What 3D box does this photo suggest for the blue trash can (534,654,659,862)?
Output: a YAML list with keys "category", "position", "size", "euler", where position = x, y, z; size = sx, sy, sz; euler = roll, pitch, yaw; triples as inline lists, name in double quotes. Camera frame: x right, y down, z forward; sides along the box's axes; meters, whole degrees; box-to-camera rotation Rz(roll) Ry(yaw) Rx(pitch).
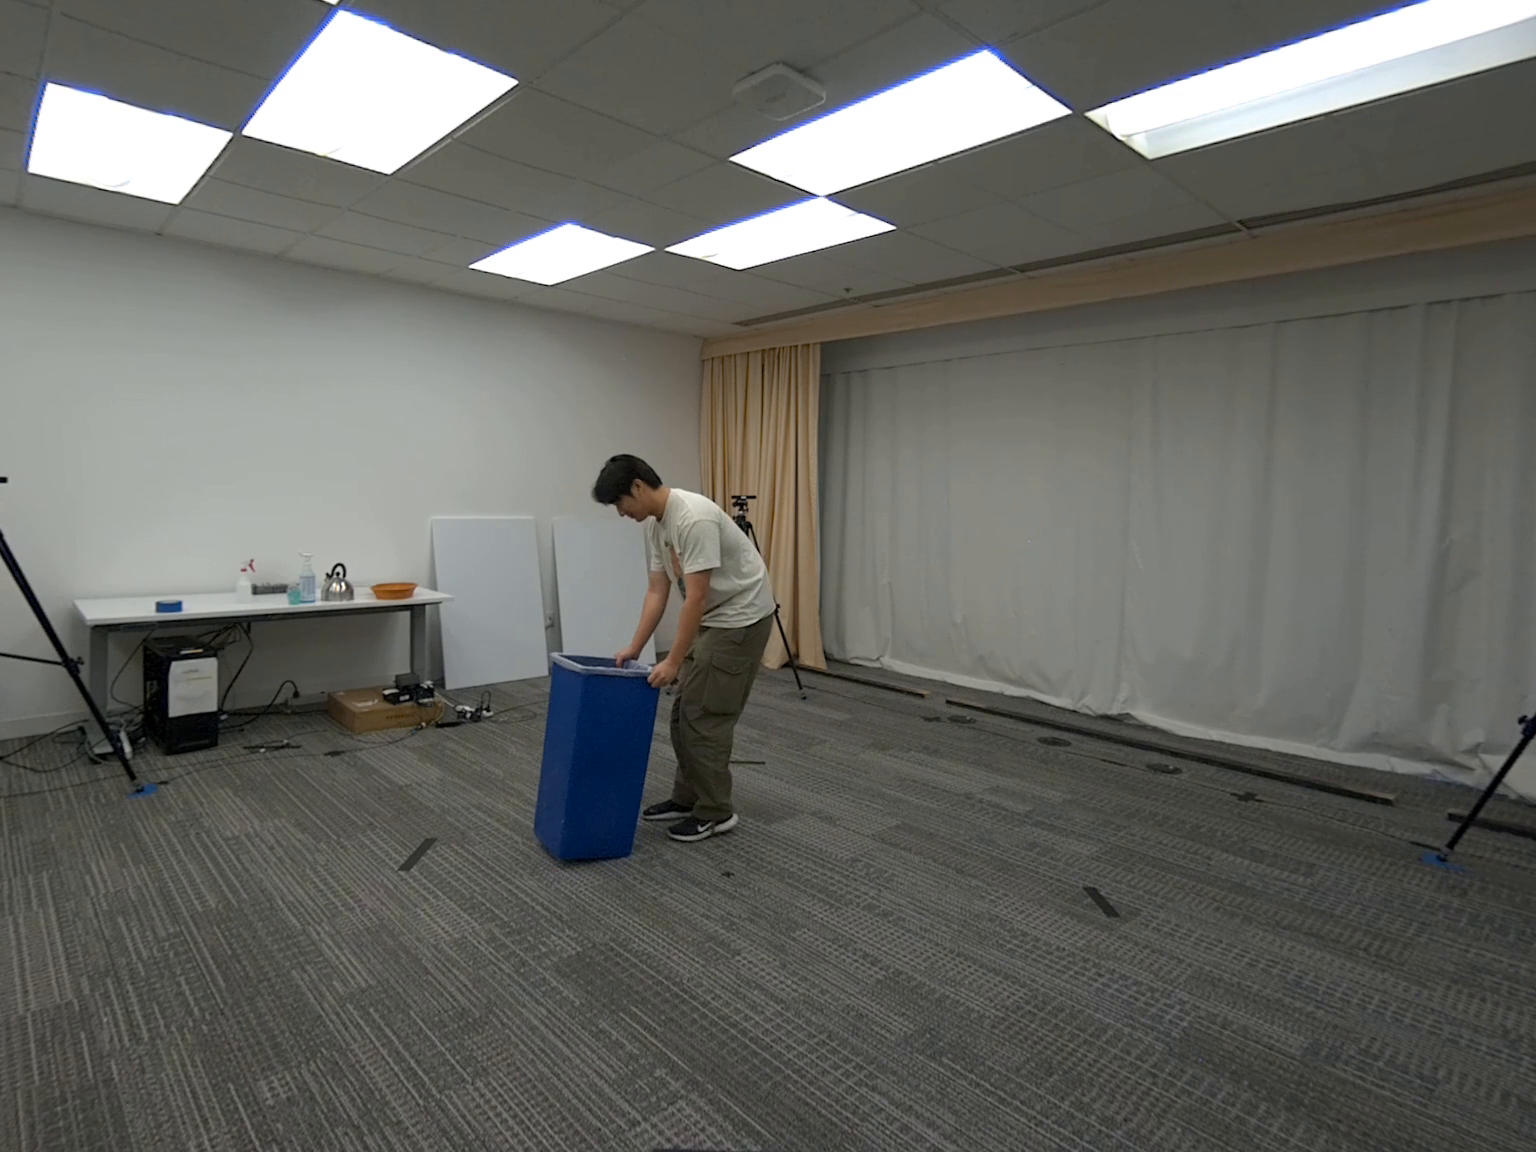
- category: "blue trash can"
  position: [-0.688, 0.697, 3.293]
  size: [0.365, 0.714, 0.387]
  euler: [10, -3, -34]
